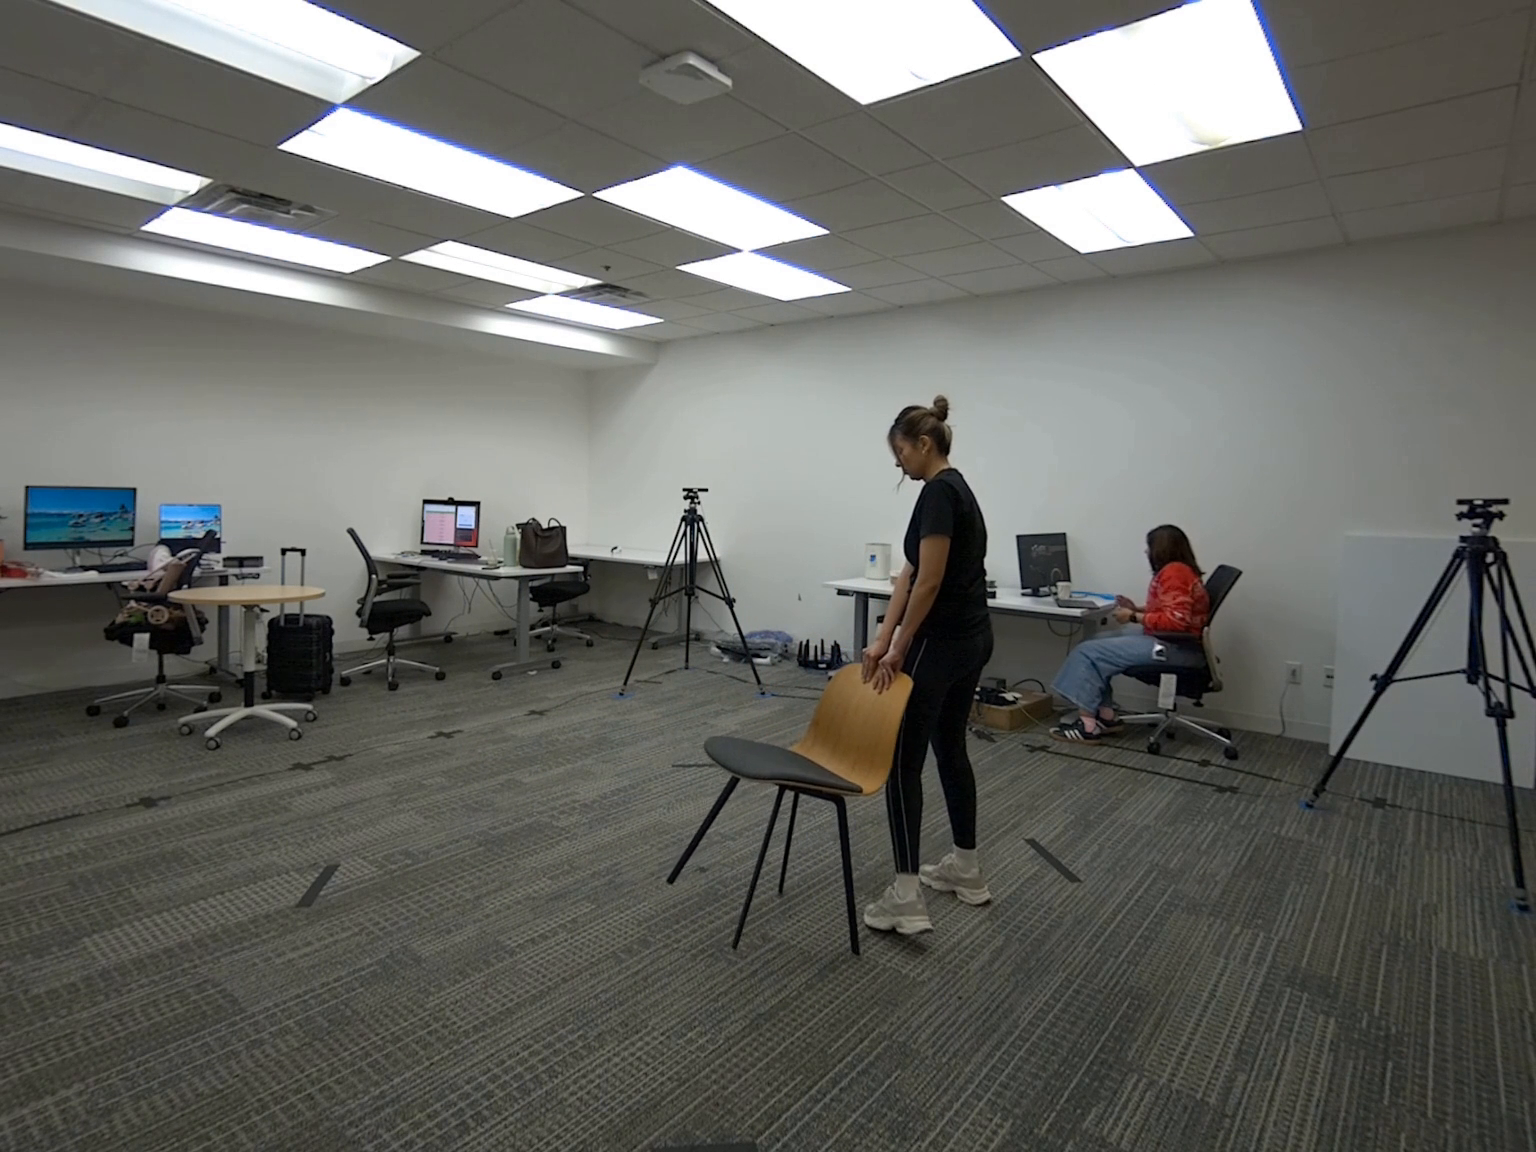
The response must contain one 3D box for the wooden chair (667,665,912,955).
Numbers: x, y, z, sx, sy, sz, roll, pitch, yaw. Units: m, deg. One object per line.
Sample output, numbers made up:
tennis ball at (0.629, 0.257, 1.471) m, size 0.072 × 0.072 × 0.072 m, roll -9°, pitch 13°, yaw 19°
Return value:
wooden chair at (0.066, 0.645, 2.670) m, size 0.506 × 0.880 × 0.492 m, roll 21°, pitch -7°, yaw -29°
